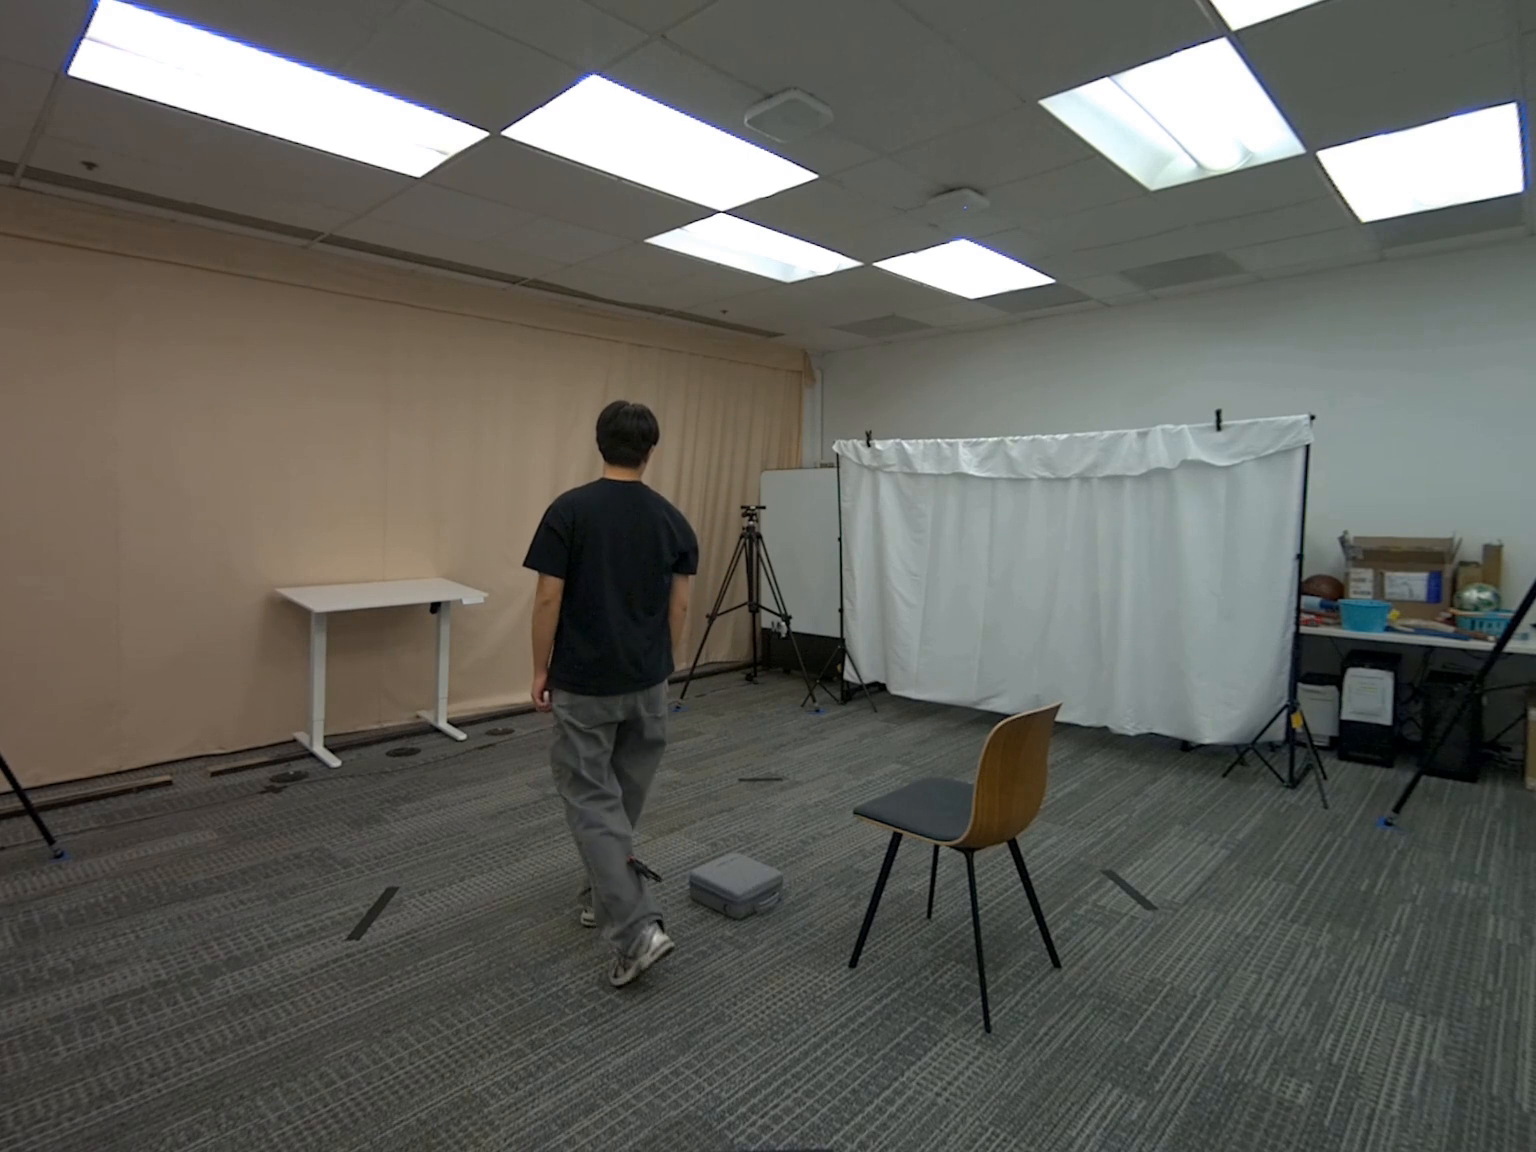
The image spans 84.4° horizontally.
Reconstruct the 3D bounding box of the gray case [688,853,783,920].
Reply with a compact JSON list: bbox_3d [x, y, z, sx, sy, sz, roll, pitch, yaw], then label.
[{"bbox_3d":[-0.096,1.091,2.972,0.297,0.103,0.255,6,7,42],"label":"gray case"}]
